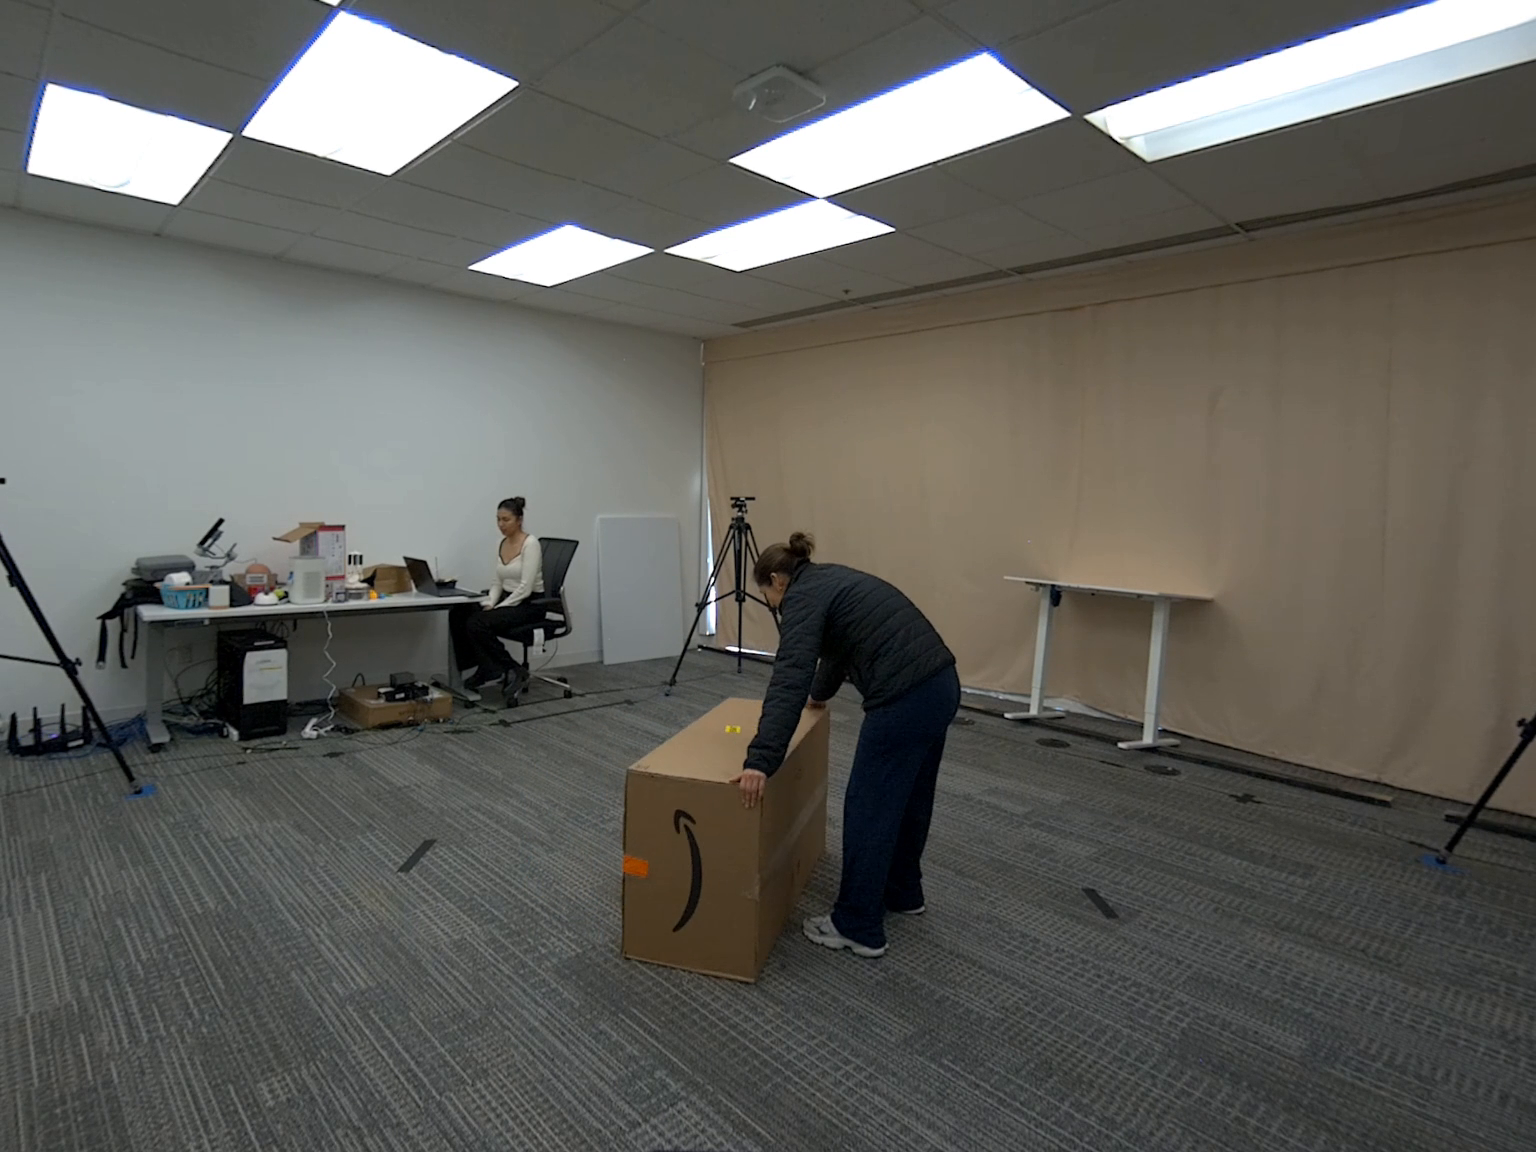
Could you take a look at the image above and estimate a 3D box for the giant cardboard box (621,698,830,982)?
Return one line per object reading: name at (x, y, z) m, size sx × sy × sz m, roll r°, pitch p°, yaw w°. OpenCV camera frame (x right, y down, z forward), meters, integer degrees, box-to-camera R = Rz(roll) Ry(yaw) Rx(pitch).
giant cardboard box at (-0.101, 0.836, 2.928) m, size 0.452 × 0.582 × 1.016 m, roll 2°, pitch 4°, yaw 15°
